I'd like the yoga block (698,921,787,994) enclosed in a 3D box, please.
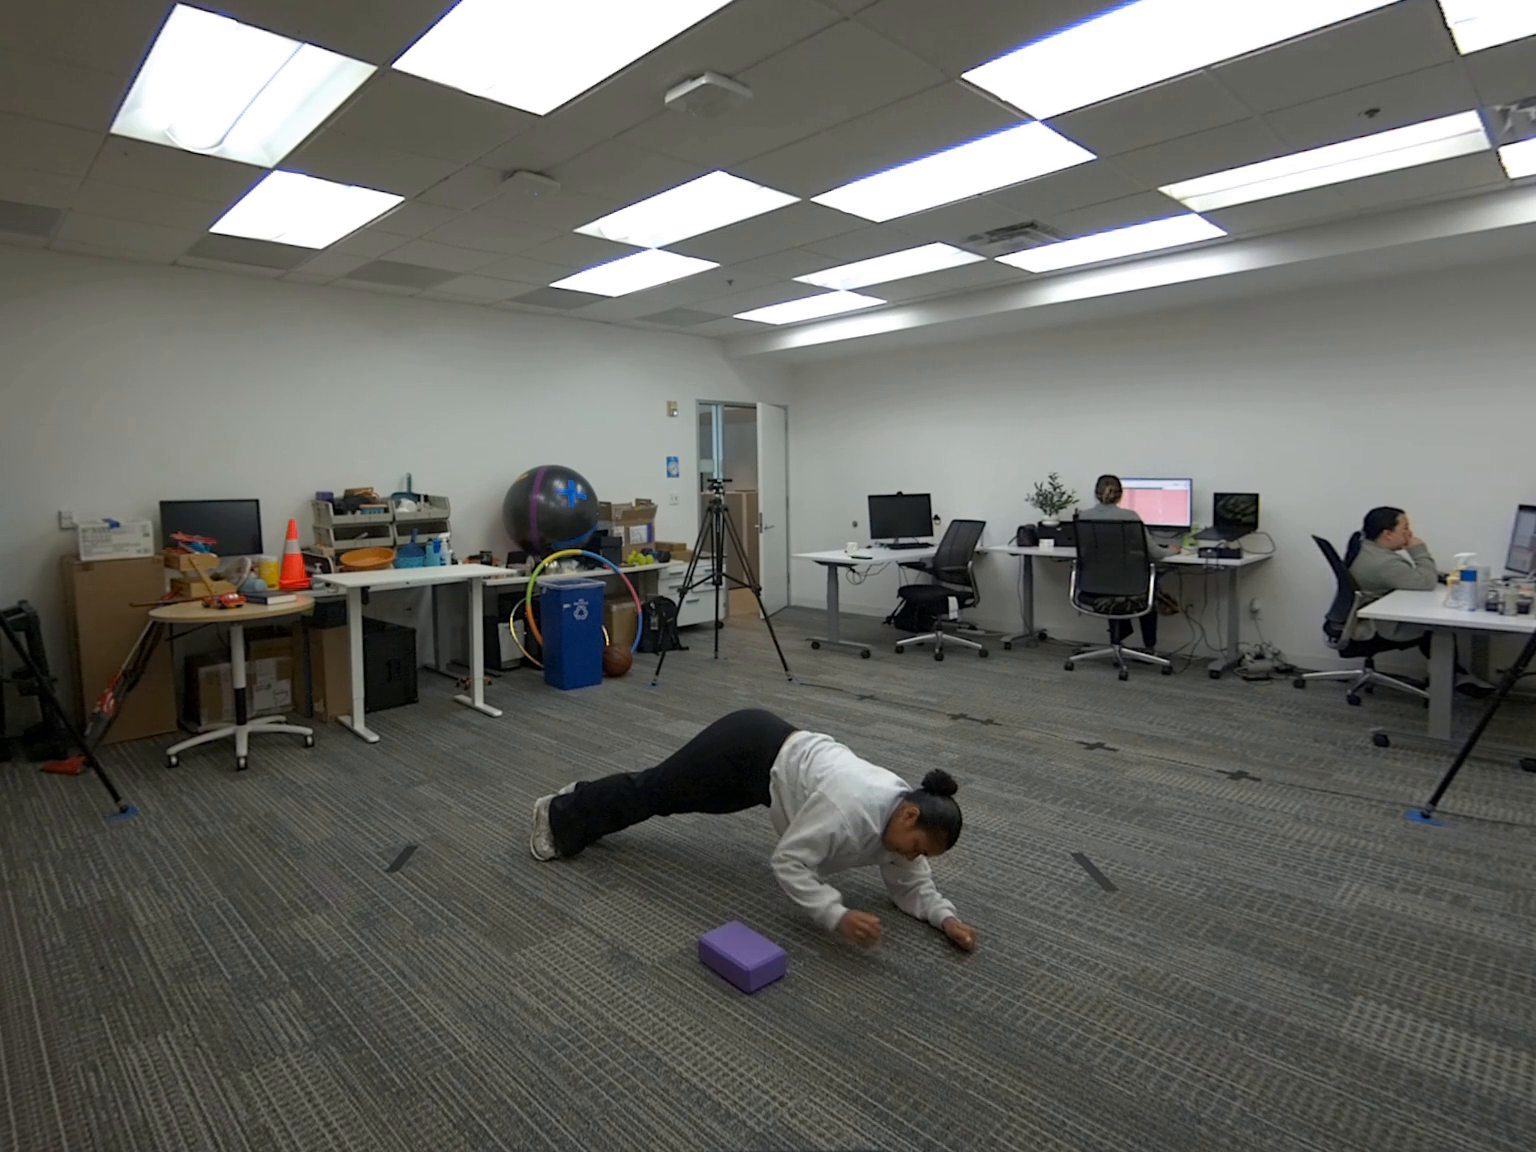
[{"bbox_3d":[-0.071,1.087,2.441,0.145,0.076,0.236,-7,10,-39],"label":"yoga block"}]
